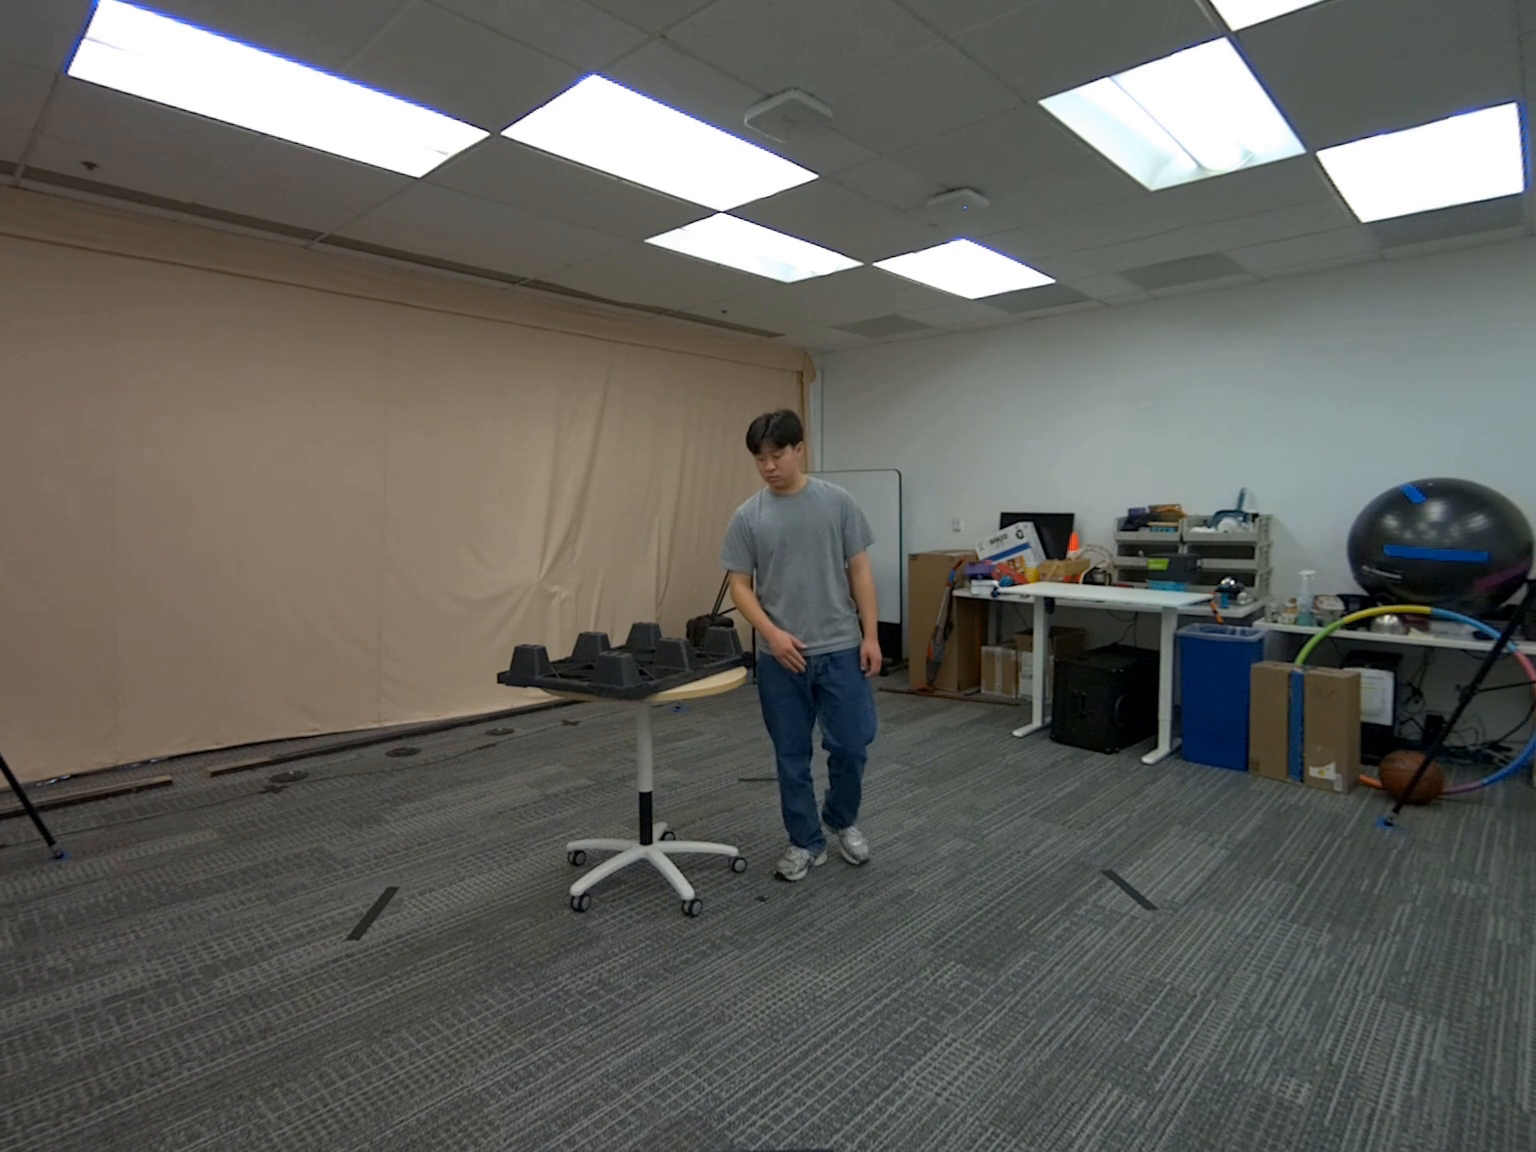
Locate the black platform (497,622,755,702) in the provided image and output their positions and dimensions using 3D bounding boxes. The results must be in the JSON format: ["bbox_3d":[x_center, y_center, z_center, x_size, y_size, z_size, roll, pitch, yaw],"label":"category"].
[{"bbox_3d":[-0.500,0.294,3.095,0.622,0.143,0.784,2,4,29],"label":"black platform"}]
